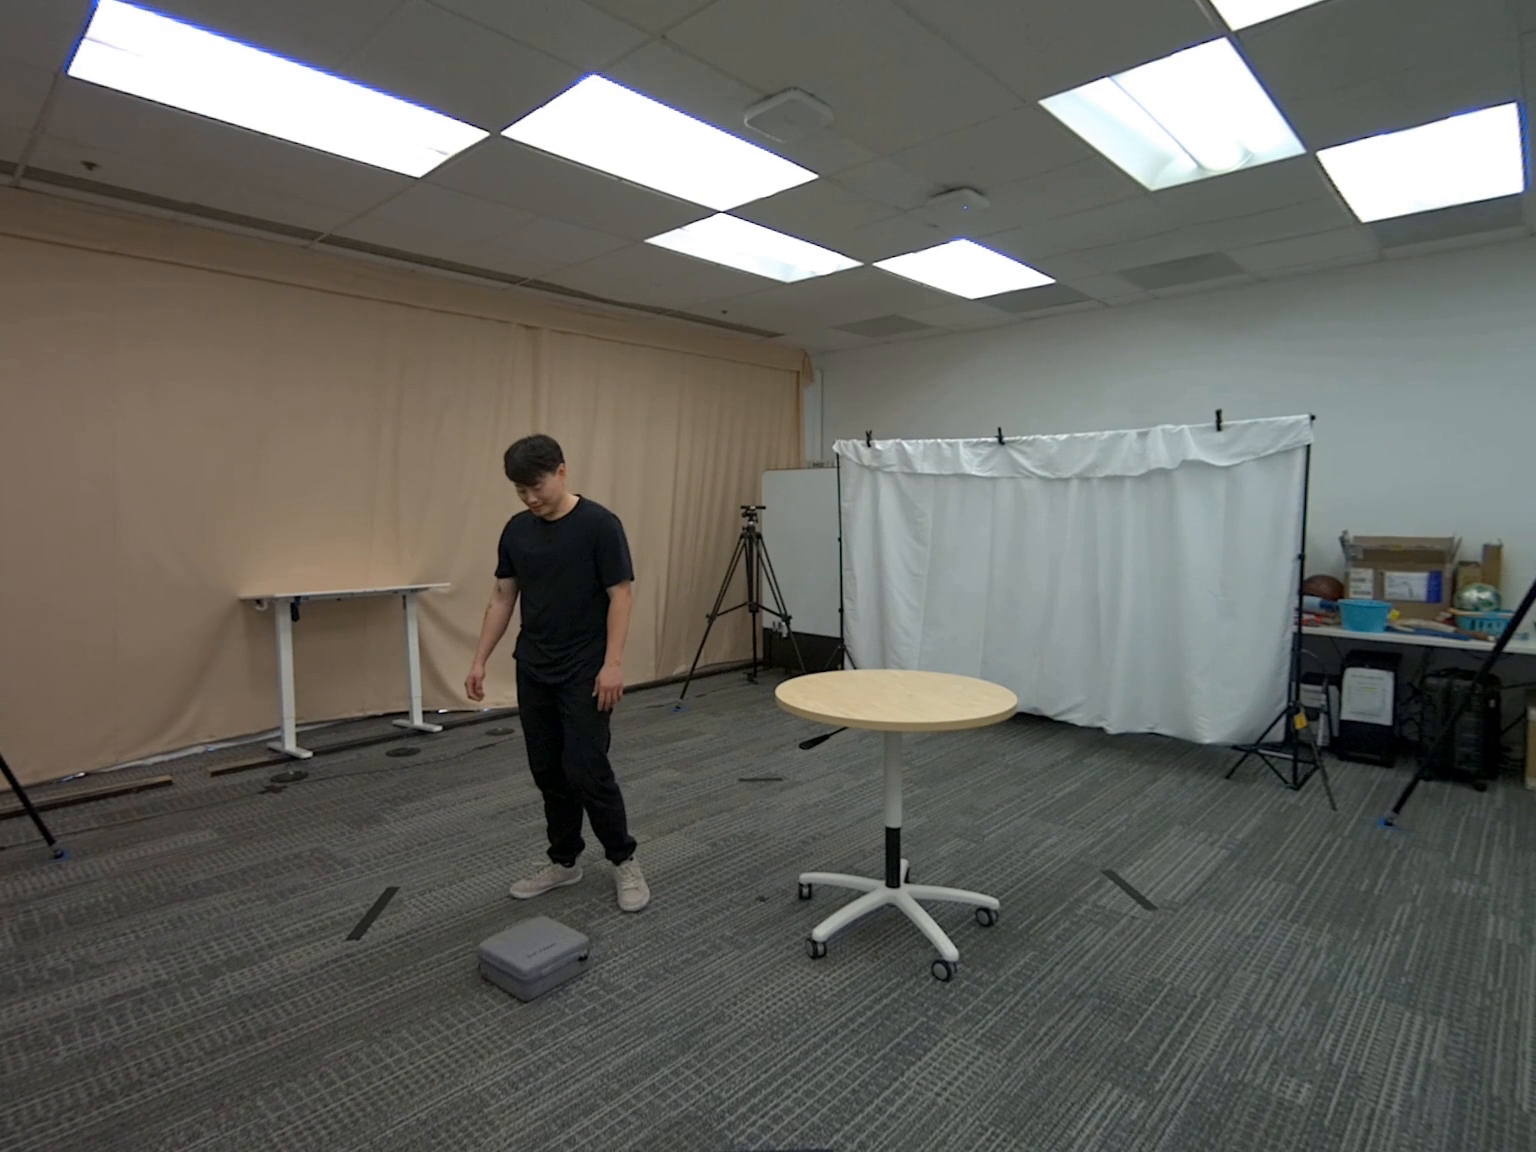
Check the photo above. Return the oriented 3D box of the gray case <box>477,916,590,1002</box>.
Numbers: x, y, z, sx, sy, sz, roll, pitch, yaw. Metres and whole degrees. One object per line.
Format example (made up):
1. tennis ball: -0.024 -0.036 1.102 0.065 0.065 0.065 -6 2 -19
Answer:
1. gray case: -0.699 1.134 2.510 0.269 0.104 0.249 2 6 37
